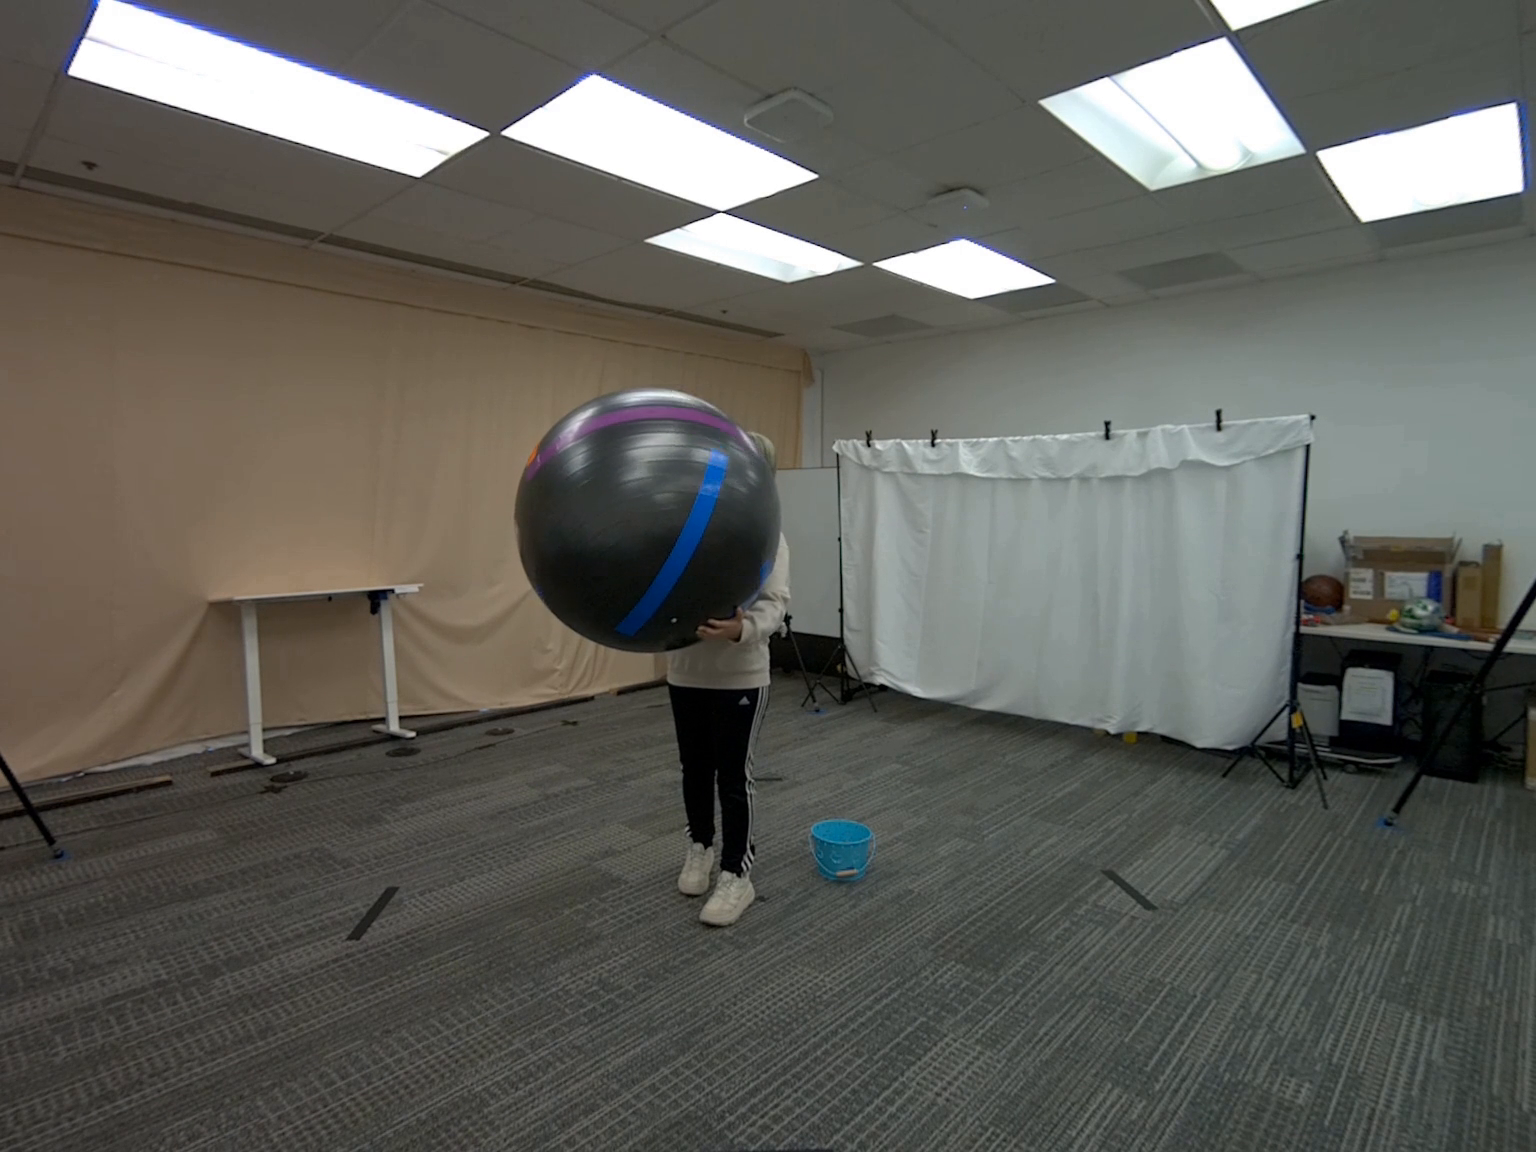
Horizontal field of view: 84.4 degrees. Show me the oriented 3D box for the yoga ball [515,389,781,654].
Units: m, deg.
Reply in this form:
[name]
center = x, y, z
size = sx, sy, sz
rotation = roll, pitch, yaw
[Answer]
[yoga ball]
center = -0.353, -0.147, 2.419
size = 0.757, 0.756, 0.761
rotation = 0, 4, -2
